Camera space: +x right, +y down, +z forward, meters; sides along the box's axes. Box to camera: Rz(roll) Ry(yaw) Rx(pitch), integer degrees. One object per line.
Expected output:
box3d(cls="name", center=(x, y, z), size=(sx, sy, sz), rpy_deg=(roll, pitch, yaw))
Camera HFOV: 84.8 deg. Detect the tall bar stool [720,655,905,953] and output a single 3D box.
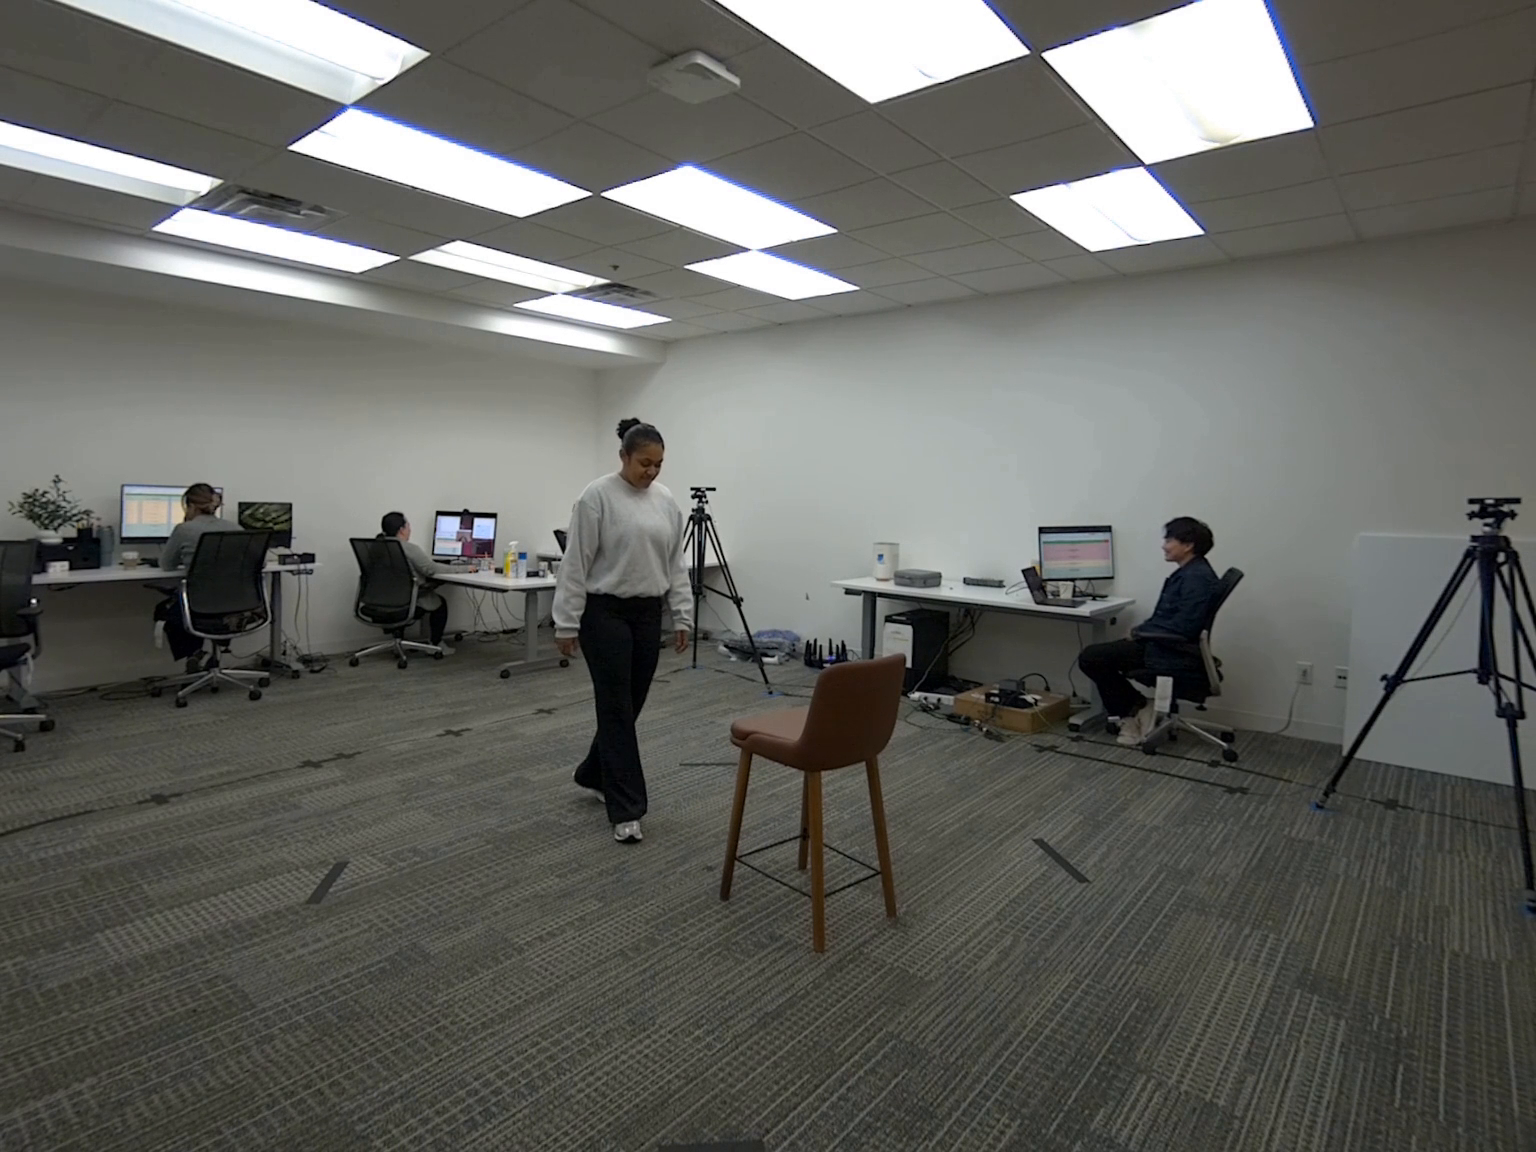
box3d(cls="tall bar stool", center=(0.147, 0.668, 2.815), size=(0.442, 0.886, 0.484), rpy_deg=(-1, 6, -42))
